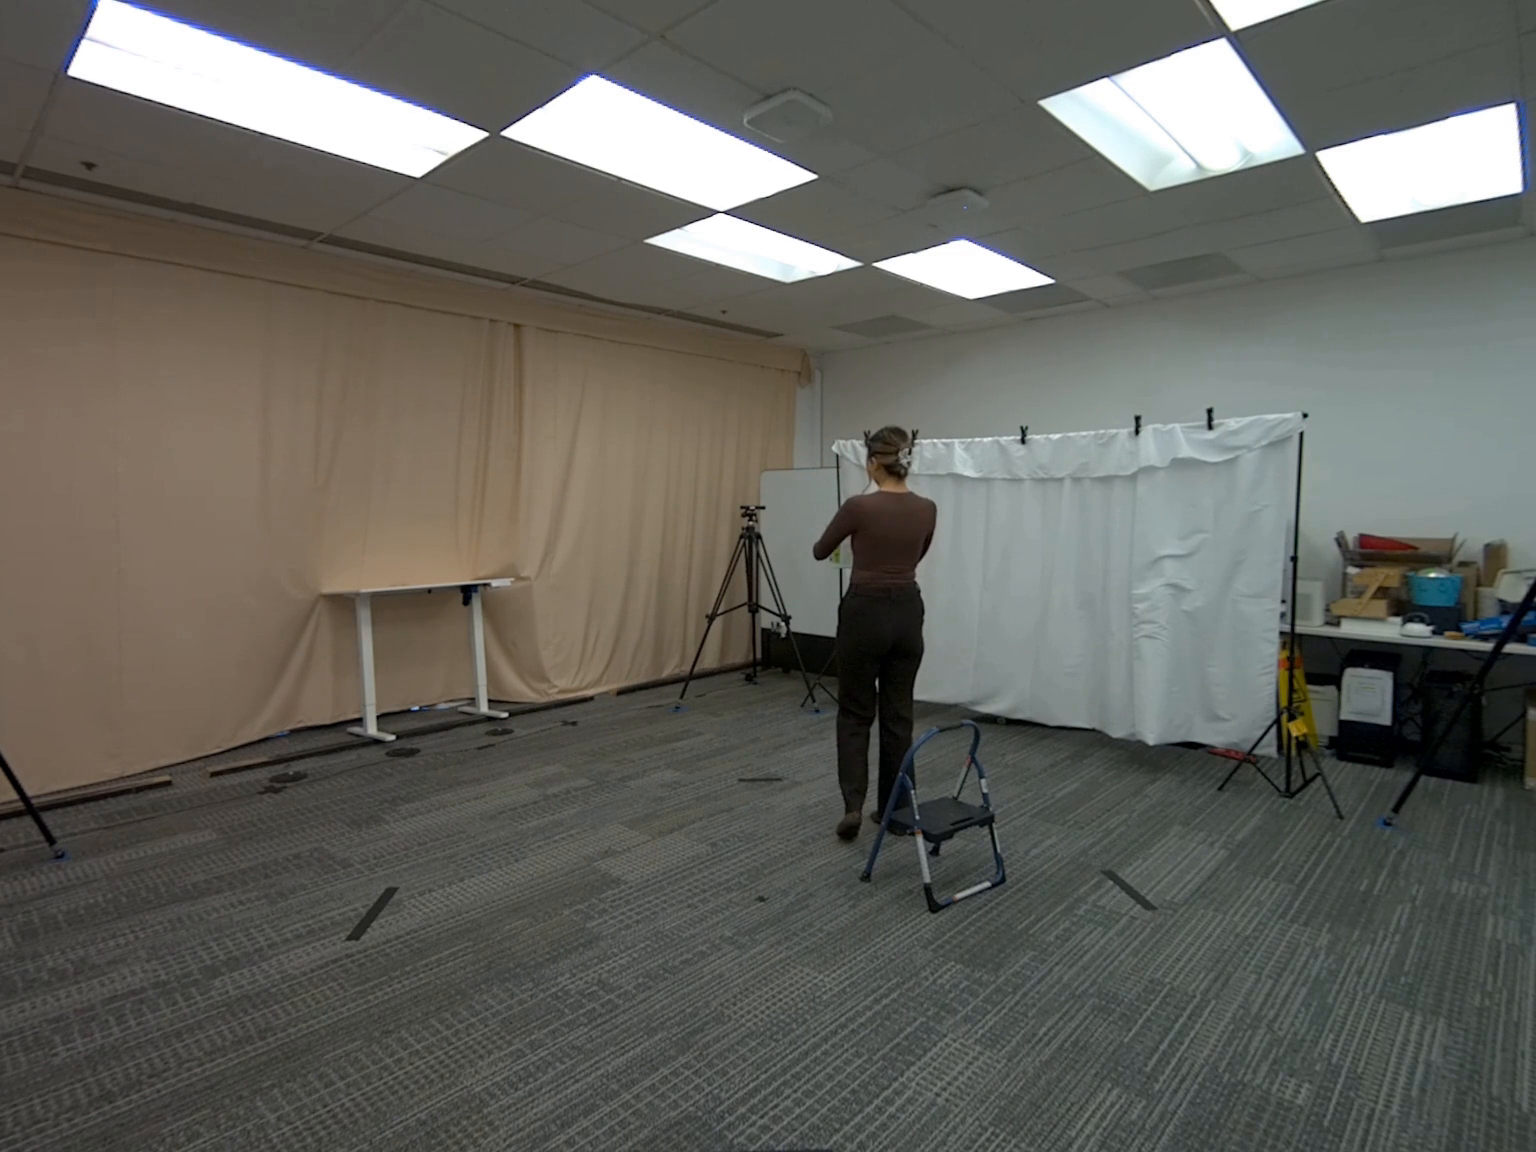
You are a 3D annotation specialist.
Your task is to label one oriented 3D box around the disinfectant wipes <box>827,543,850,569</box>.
[{"bbox_3d":[0.340,-0.148,3.936,0.117,0.217,0.118,6,7,-3],"label":"disinfectant wipes"}]
